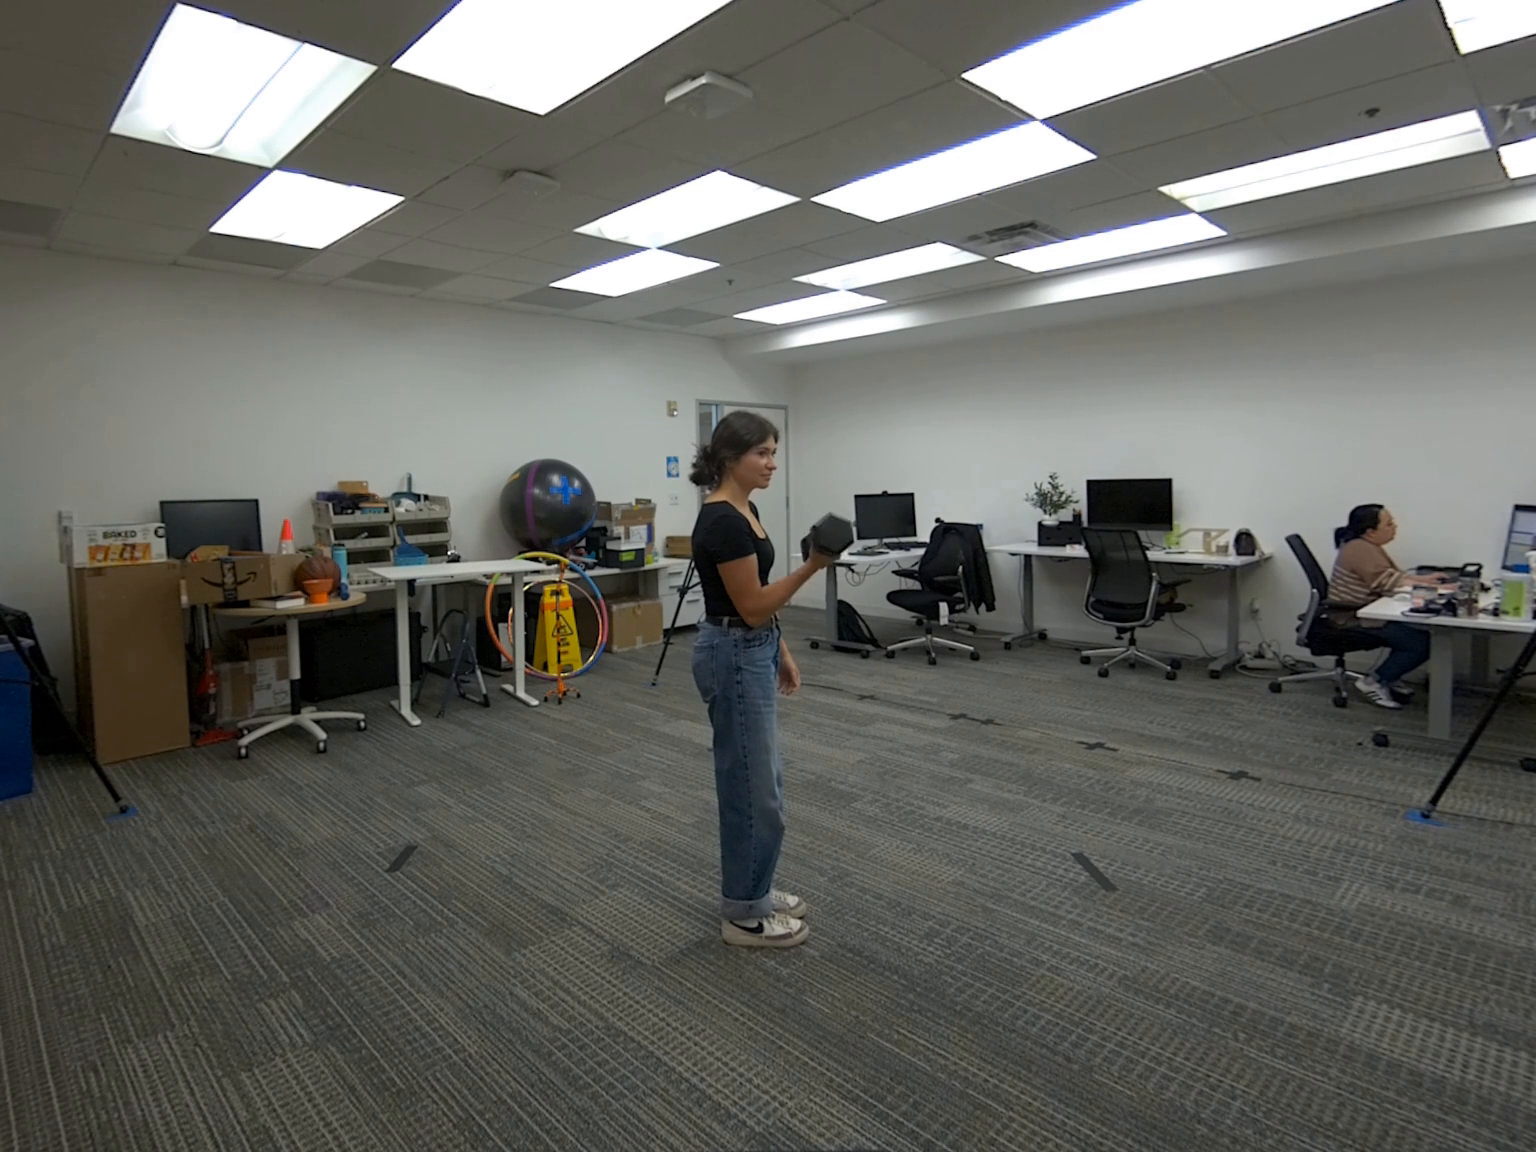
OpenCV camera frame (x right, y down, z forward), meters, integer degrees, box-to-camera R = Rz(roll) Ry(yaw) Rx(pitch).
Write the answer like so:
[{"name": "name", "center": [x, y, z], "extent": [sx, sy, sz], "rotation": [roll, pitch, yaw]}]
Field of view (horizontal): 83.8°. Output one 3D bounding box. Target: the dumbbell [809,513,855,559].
[{"name": "dumbbell", "center": [0.166, -0.088, 2.440], "extent": [0.123, 0.109, 0.292], "rotation": [-39, -4, -8]}]
